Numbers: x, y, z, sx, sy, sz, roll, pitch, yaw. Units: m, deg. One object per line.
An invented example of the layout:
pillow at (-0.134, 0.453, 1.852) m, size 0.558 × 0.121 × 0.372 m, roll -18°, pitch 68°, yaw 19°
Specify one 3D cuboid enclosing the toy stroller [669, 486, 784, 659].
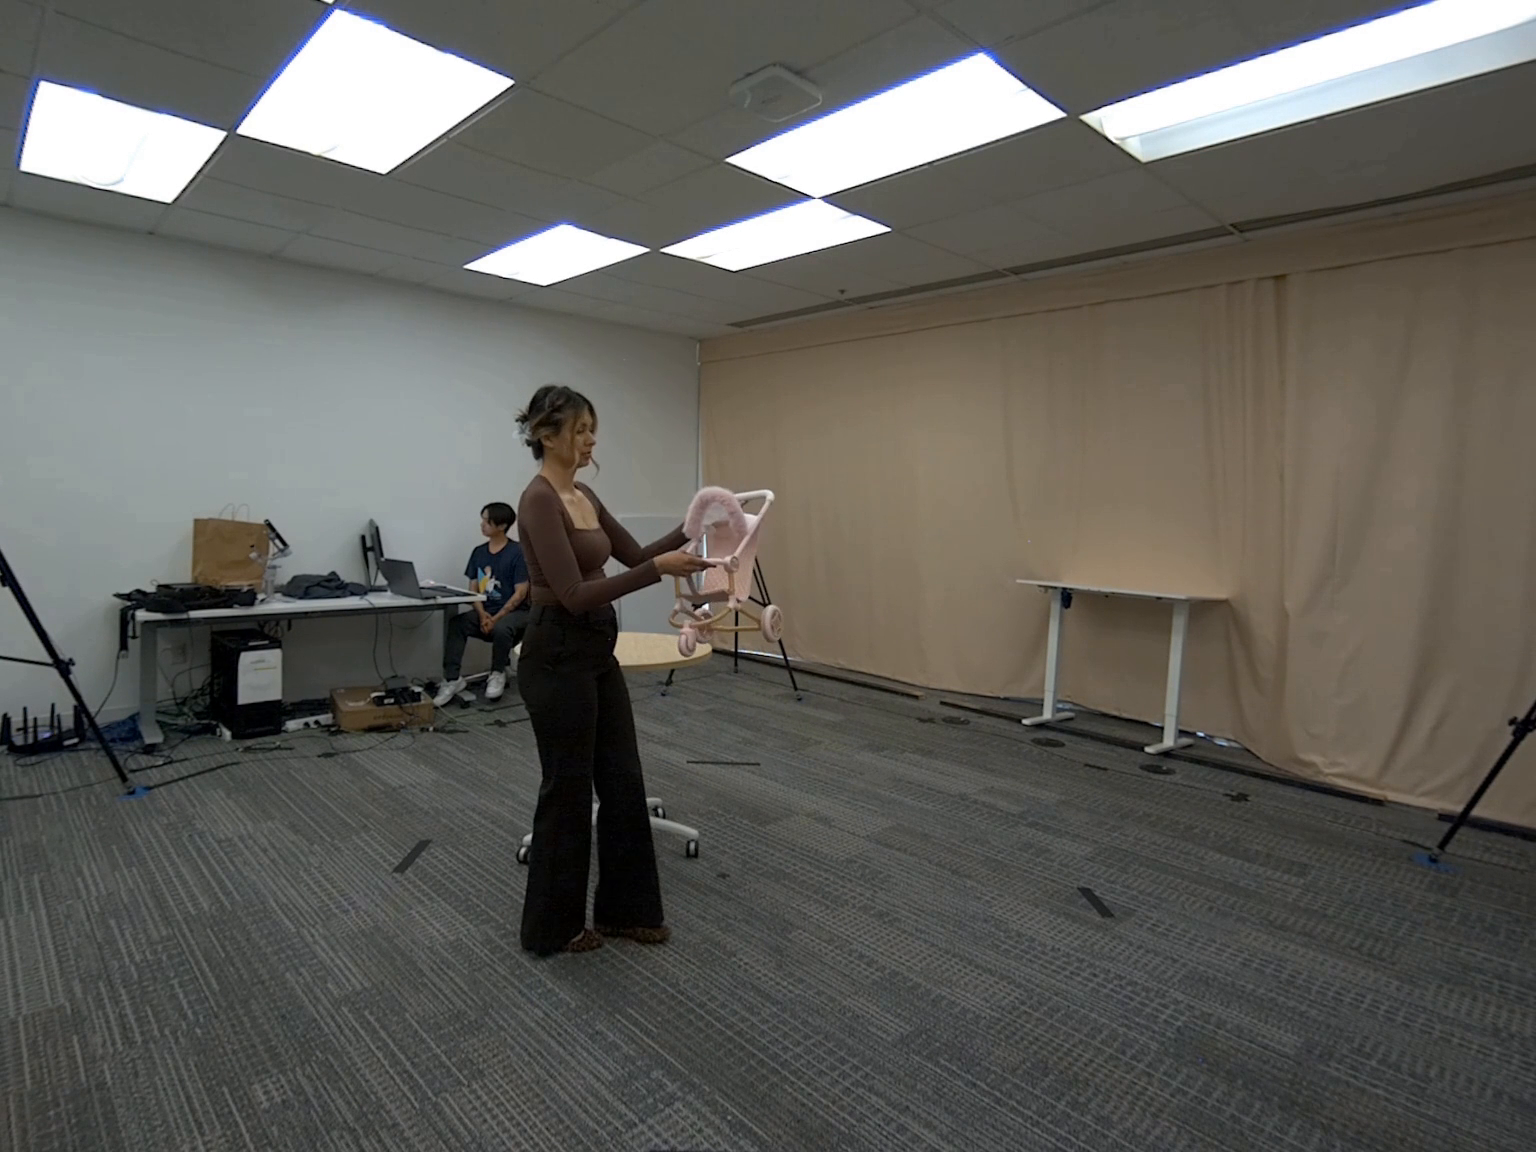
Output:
toy stroller at (-0.155, -0.020, 2.468) m, size 0.287 × 0.539 × 0.332 m, roll -6°, pitch -13°, yaw 36°
